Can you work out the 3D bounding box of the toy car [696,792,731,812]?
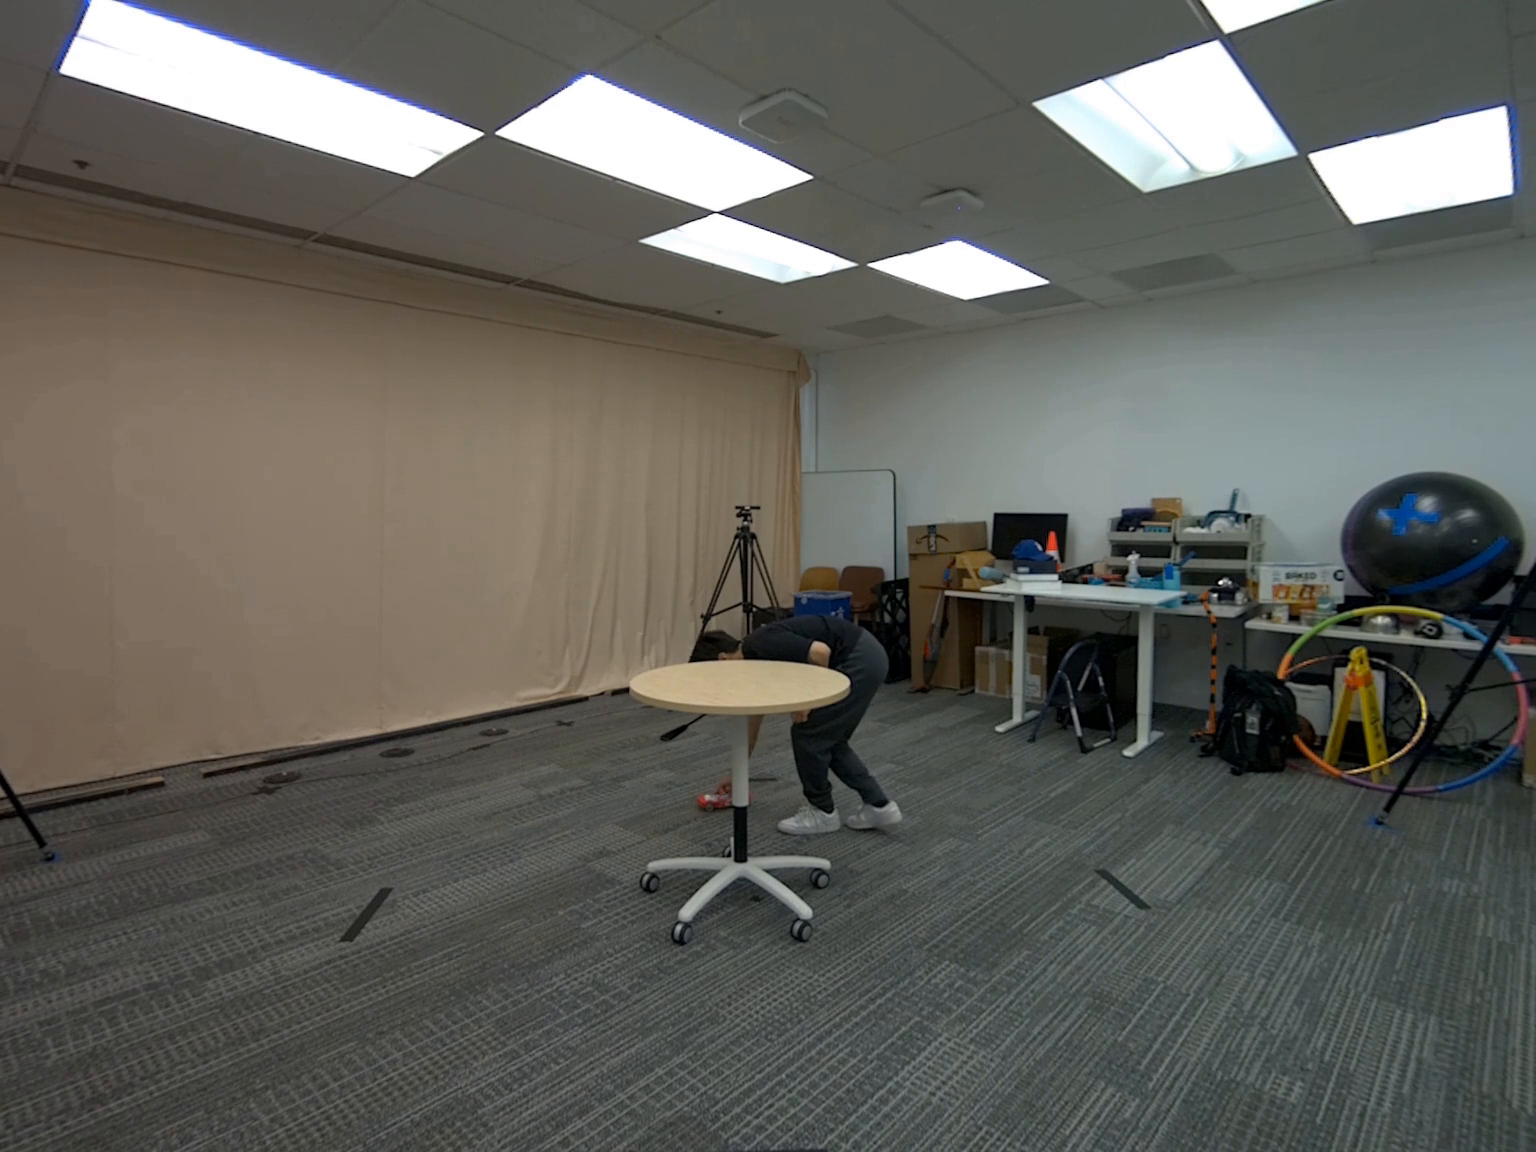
[{"bbox_3d":[-0.198,1.040,3.925,0.250,0.083,0.133,-13,9,-19],"label":"toy car"}]
